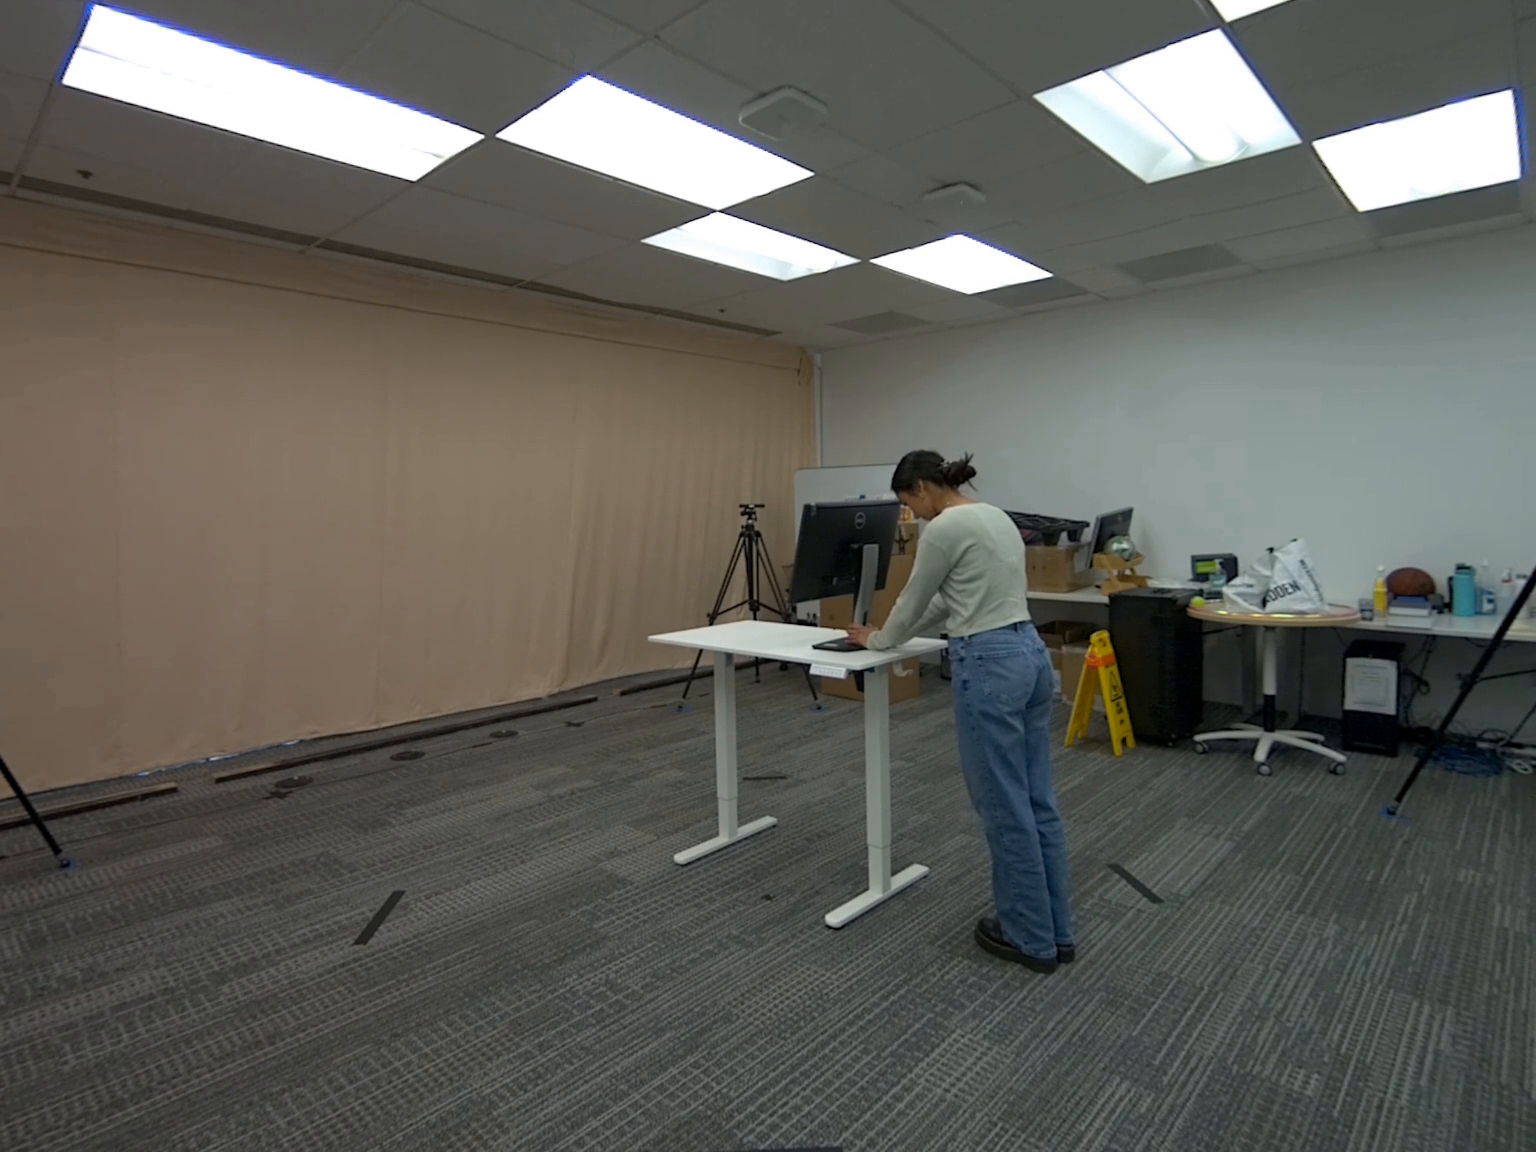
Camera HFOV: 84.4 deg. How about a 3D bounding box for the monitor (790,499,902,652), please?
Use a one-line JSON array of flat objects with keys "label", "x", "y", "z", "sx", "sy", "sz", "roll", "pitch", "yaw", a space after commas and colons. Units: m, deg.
[{"label": "monitor", "x": 0.308, "y": -0.004, "z": 2.982, "sx": 0.193, "sy": 0.521, "sz": 0.523, "roll": 3, "pitch": 7, "yaw": 44}]
